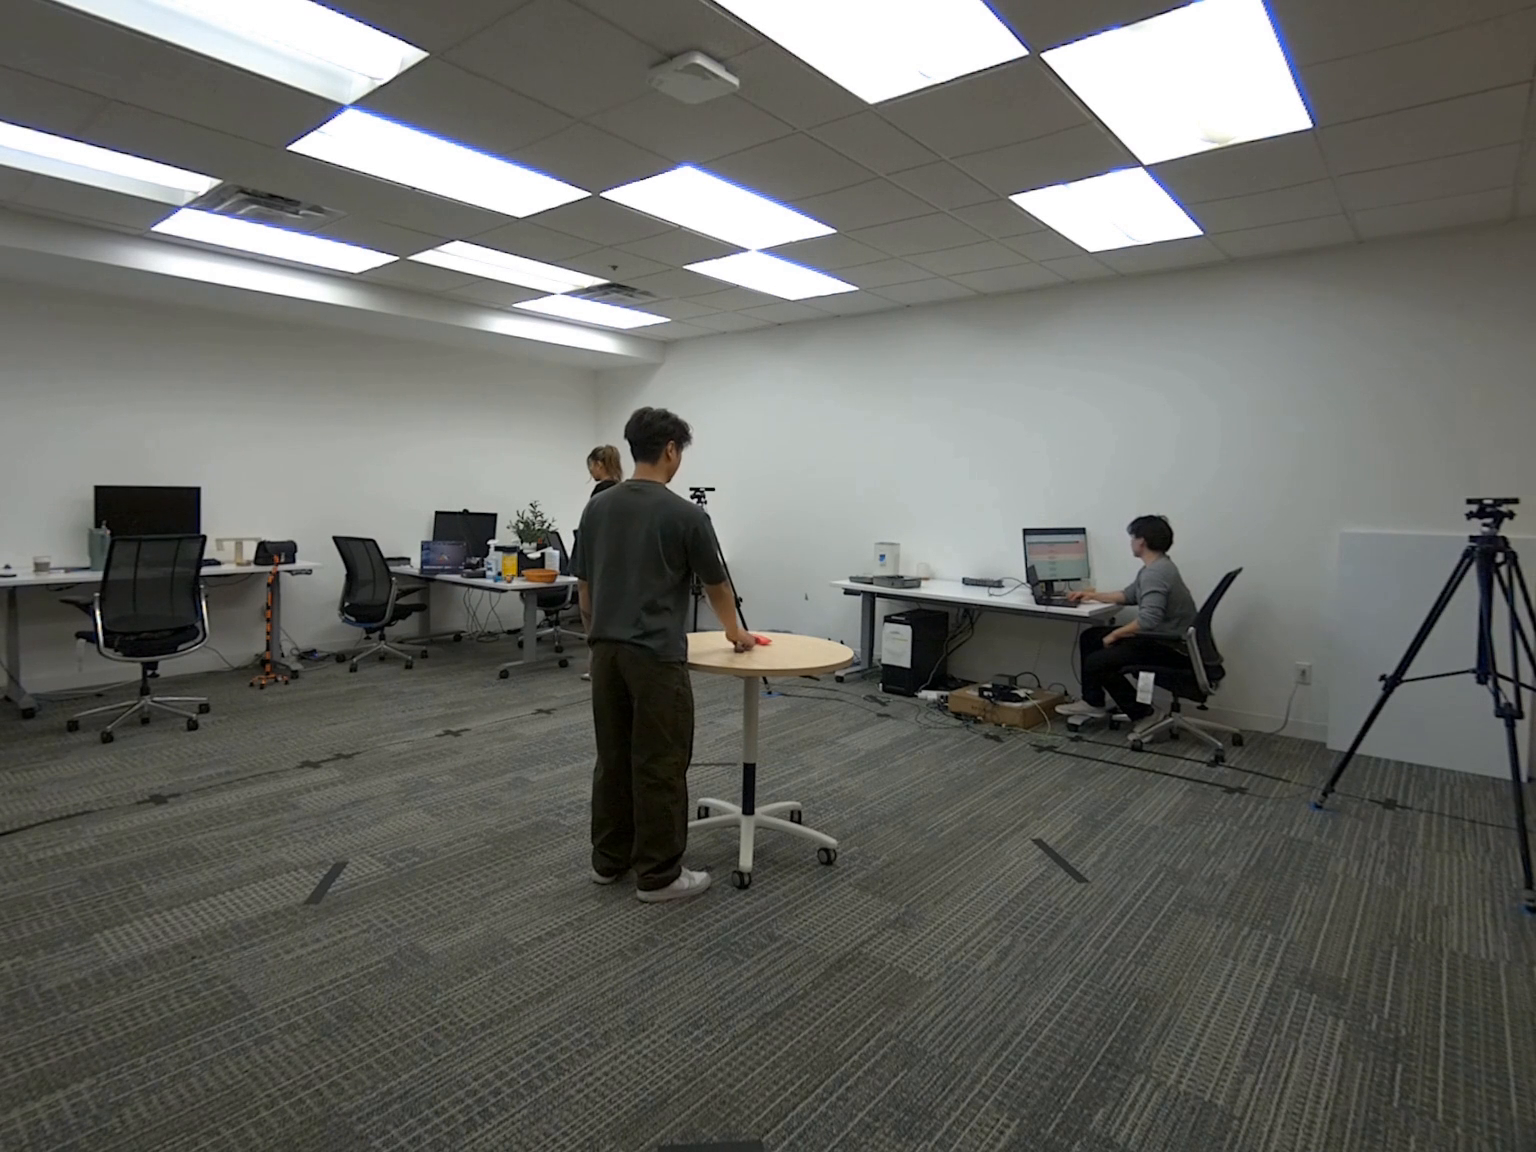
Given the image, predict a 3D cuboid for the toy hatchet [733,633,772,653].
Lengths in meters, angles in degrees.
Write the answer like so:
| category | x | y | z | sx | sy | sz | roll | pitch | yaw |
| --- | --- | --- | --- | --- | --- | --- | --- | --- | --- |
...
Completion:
| category | x | y | z | sx | sy | sz | roll | pitch | yaw |
| --- | --- | --- | --- | --- | --- | --- | --- | --- | --- |
| toy hatchet | -0.063 | 0.258 | 3.253 | 0.131 | 0.029 | 0.271 | 6 | 9 | 2 |
